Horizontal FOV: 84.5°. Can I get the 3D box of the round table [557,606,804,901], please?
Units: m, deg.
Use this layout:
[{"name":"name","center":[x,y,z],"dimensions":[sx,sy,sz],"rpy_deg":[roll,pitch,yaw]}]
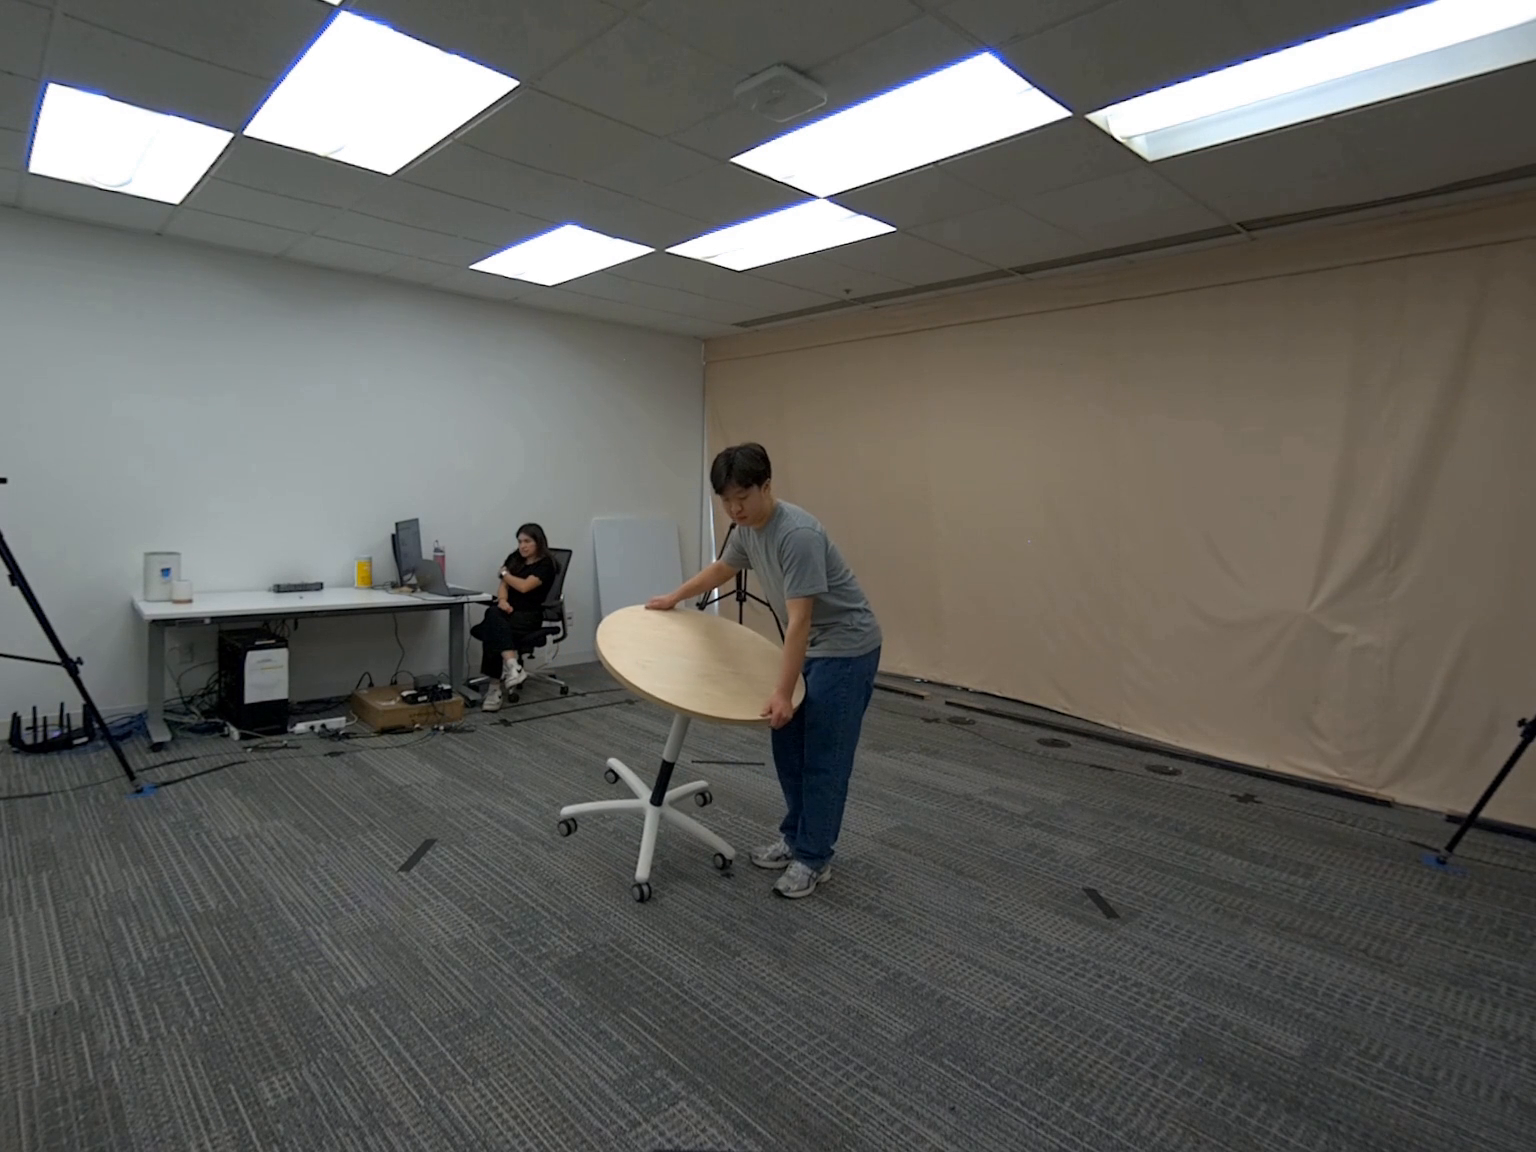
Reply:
[{"name":"round table","center":[-0.361,0.640,3.108],"dimensions":[0.759,0.787,0.775],"rpy_deg":[16,19,-7]}]
